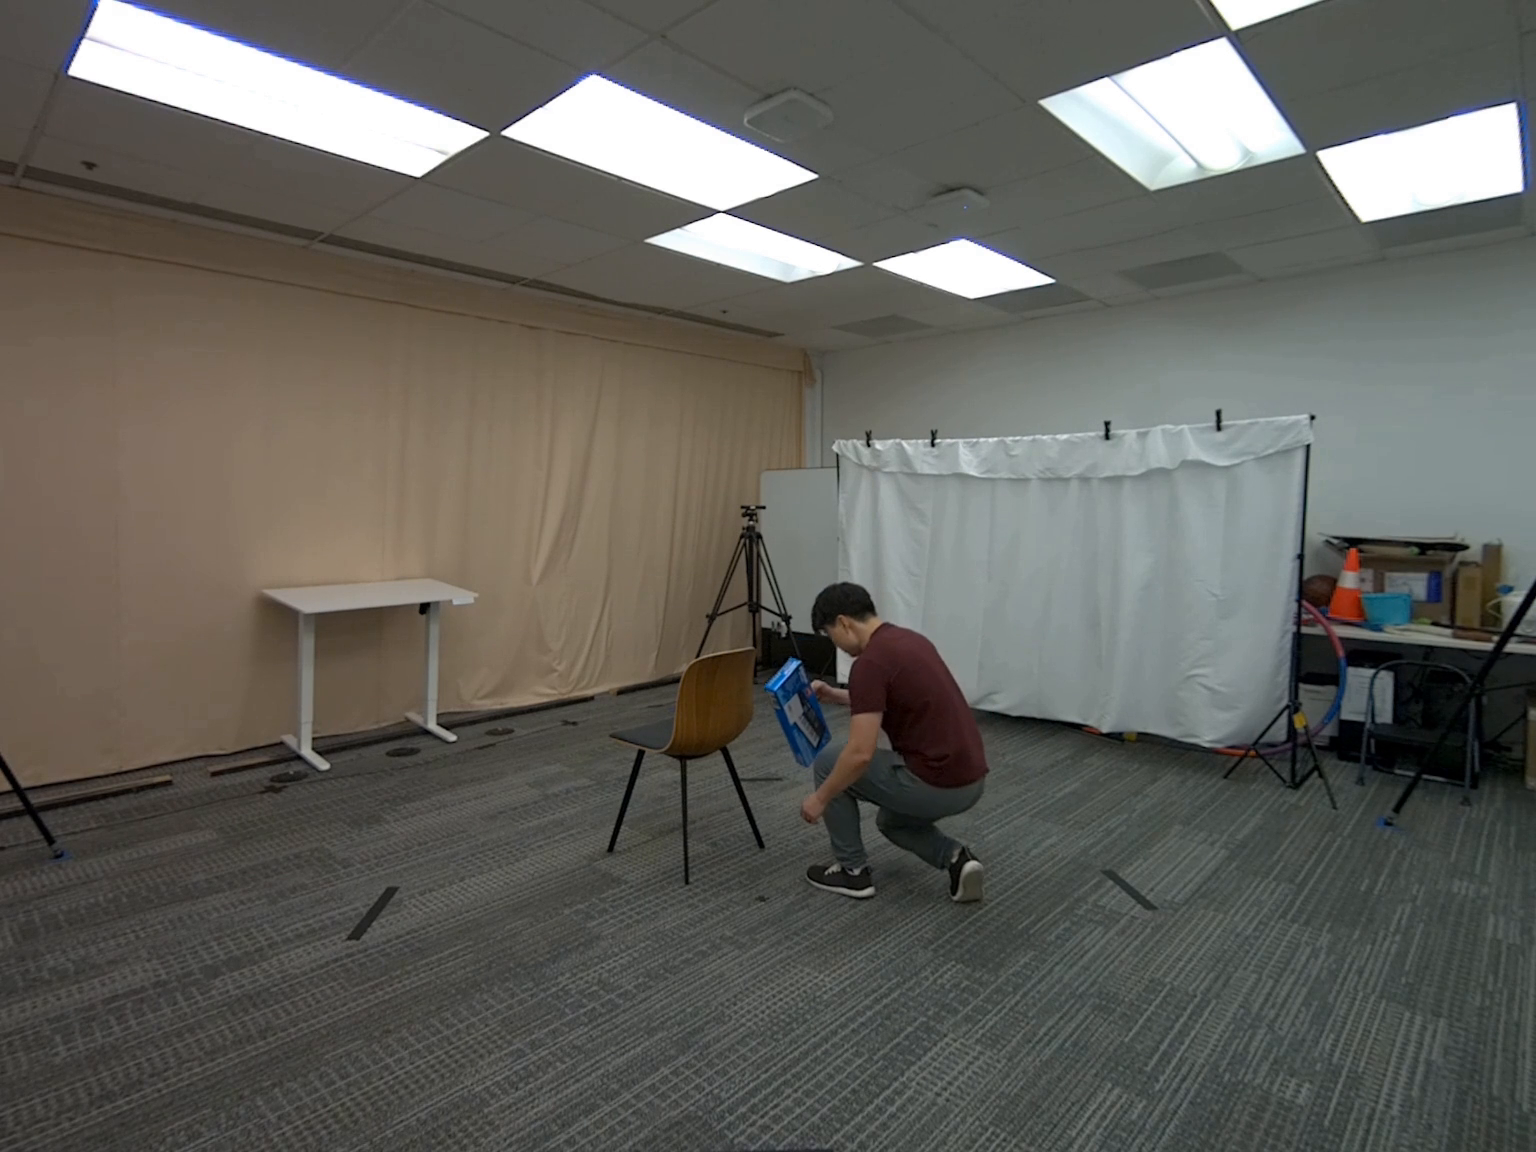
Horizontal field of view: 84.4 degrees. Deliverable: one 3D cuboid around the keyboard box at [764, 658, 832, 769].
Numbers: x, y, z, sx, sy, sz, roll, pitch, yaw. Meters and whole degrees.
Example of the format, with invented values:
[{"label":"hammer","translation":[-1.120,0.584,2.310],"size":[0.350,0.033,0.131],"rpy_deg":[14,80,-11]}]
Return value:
[{"label":"keyboard box","translation":[0.129,0.547,3.305],"size":[0.061,0.425,0.174],"rpy_deg":[15,47,44]}]
